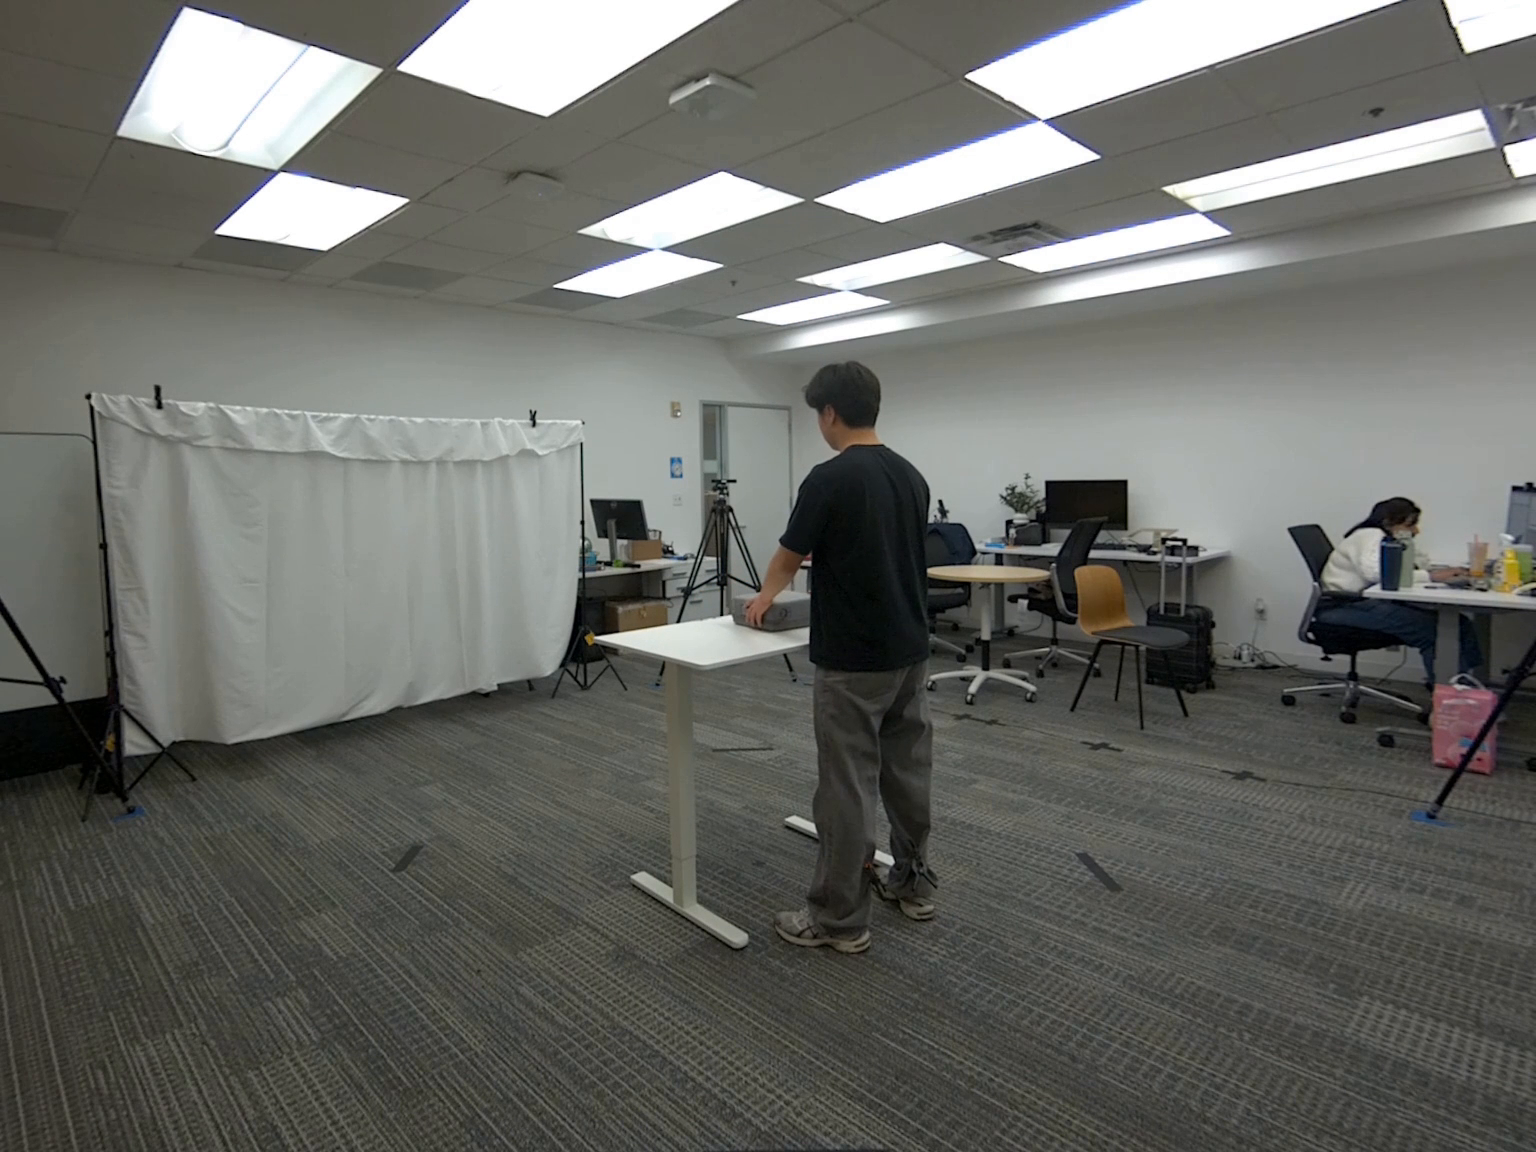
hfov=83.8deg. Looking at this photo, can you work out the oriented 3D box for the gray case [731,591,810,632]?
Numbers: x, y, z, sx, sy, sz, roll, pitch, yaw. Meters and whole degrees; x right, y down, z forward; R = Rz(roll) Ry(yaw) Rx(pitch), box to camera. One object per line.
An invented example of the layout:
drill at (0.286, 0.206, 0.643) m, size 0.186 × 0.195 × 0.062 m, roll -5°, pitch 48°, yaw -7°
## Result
gray case at (0.024, 0.122, 3.026) m, size 0.280 × 0.102 × 0.271 m, roll -6°, pitch 8°, yaw -32°
